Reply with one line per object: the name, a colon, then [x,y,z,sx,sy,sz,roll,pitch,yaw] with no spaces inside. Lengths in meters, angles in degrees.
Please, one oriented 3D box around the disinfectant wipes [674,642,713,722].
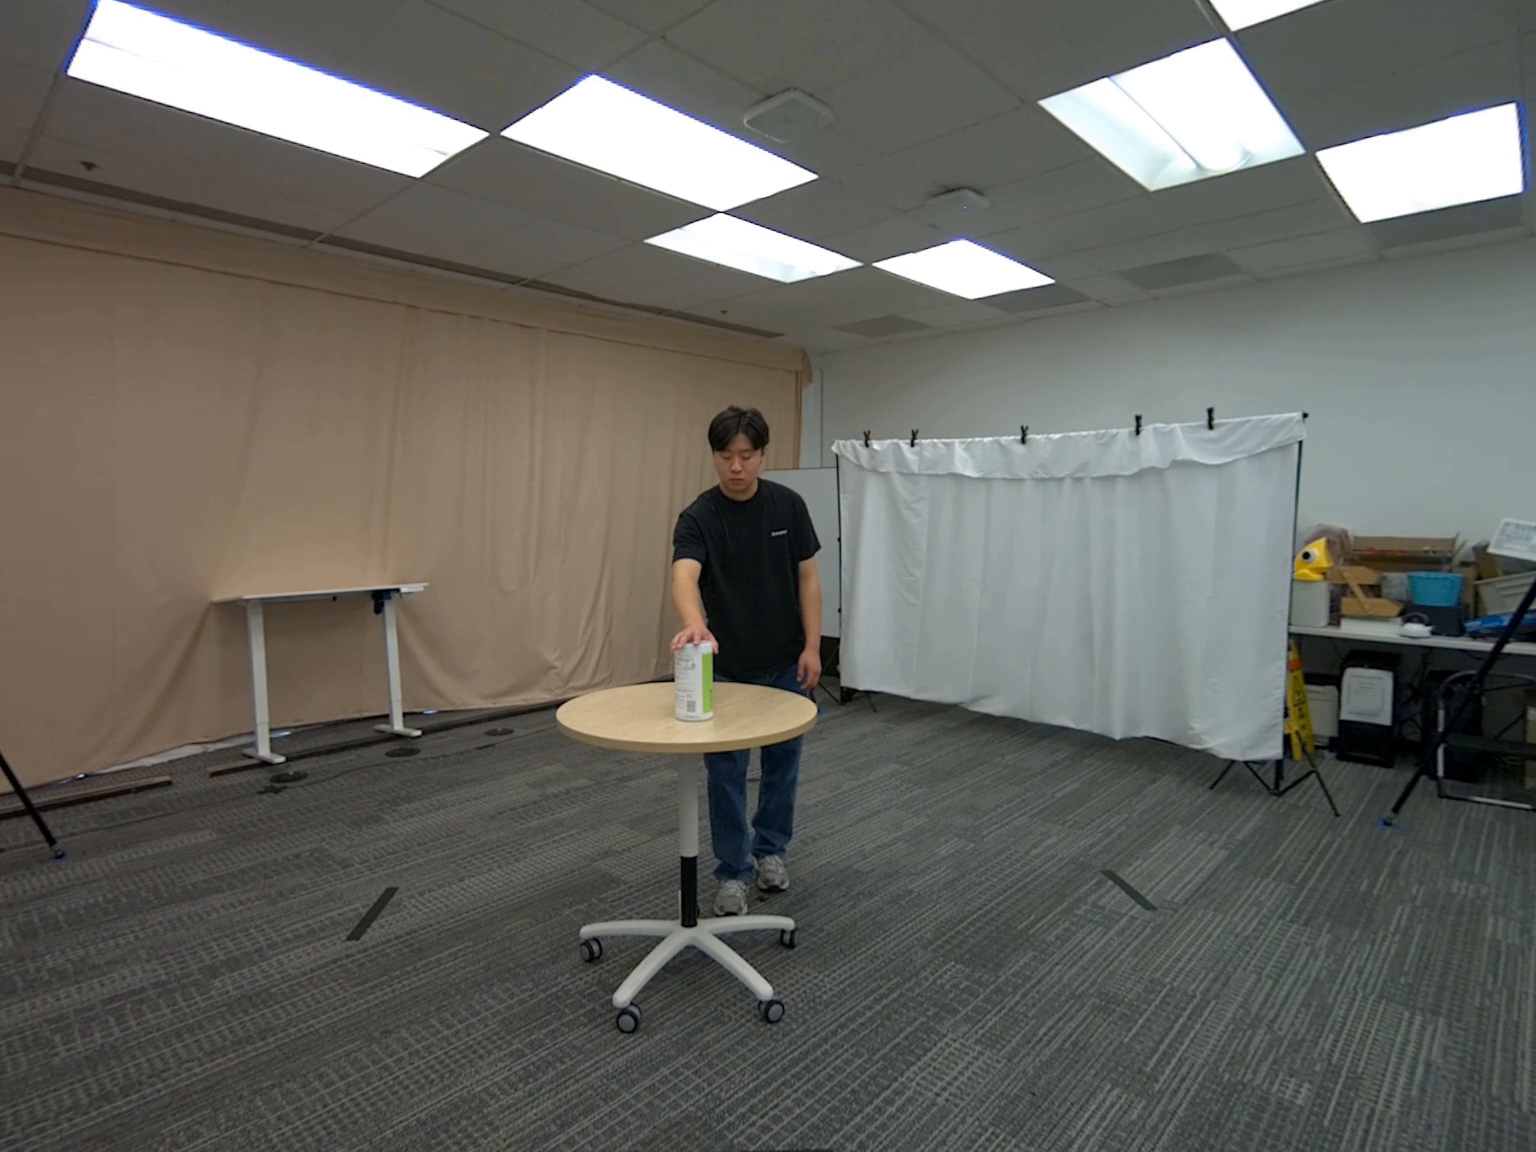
disinfectant wipes: [-0.208,0.293,2.369,0.117,0.217,0.118,2,2,-2]
